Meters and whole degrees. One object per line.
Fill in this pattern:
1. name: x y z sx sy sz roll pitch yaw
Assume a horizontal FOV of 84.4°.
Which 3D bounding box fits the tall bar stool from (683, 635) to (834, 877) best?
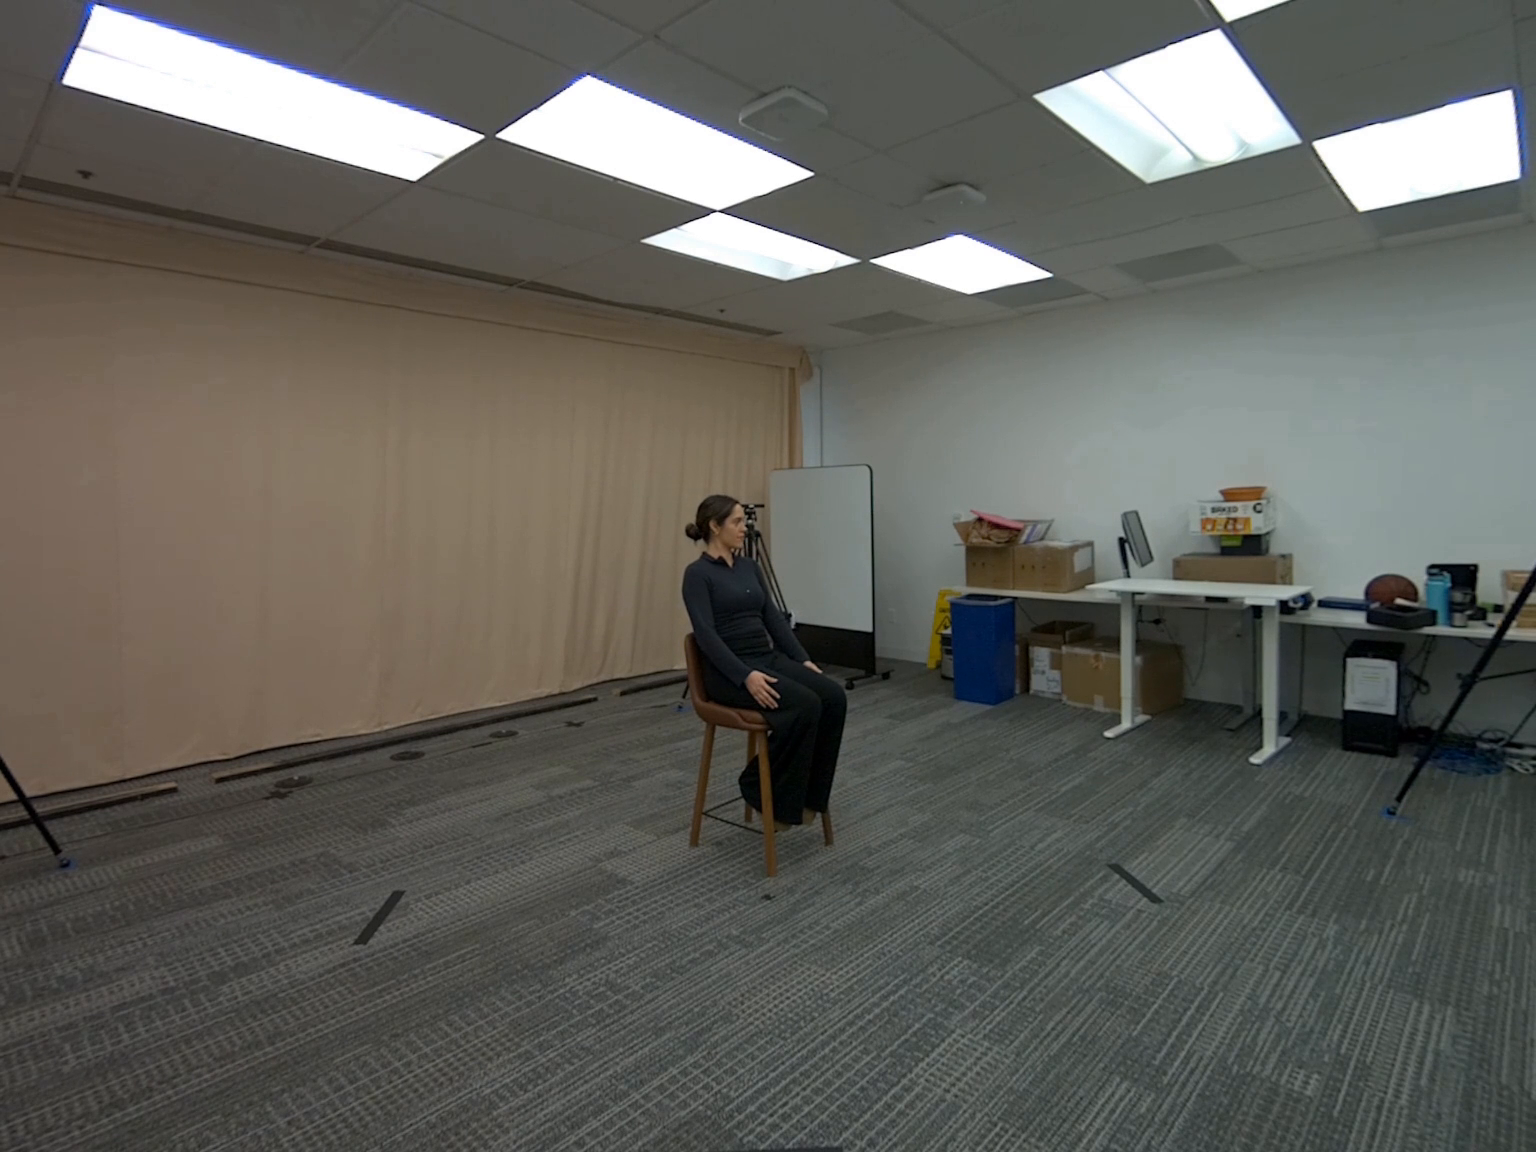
1. tall bar stool: -0.046 0.666 3.431 0.482 0.889 0.443 -1 2 41
